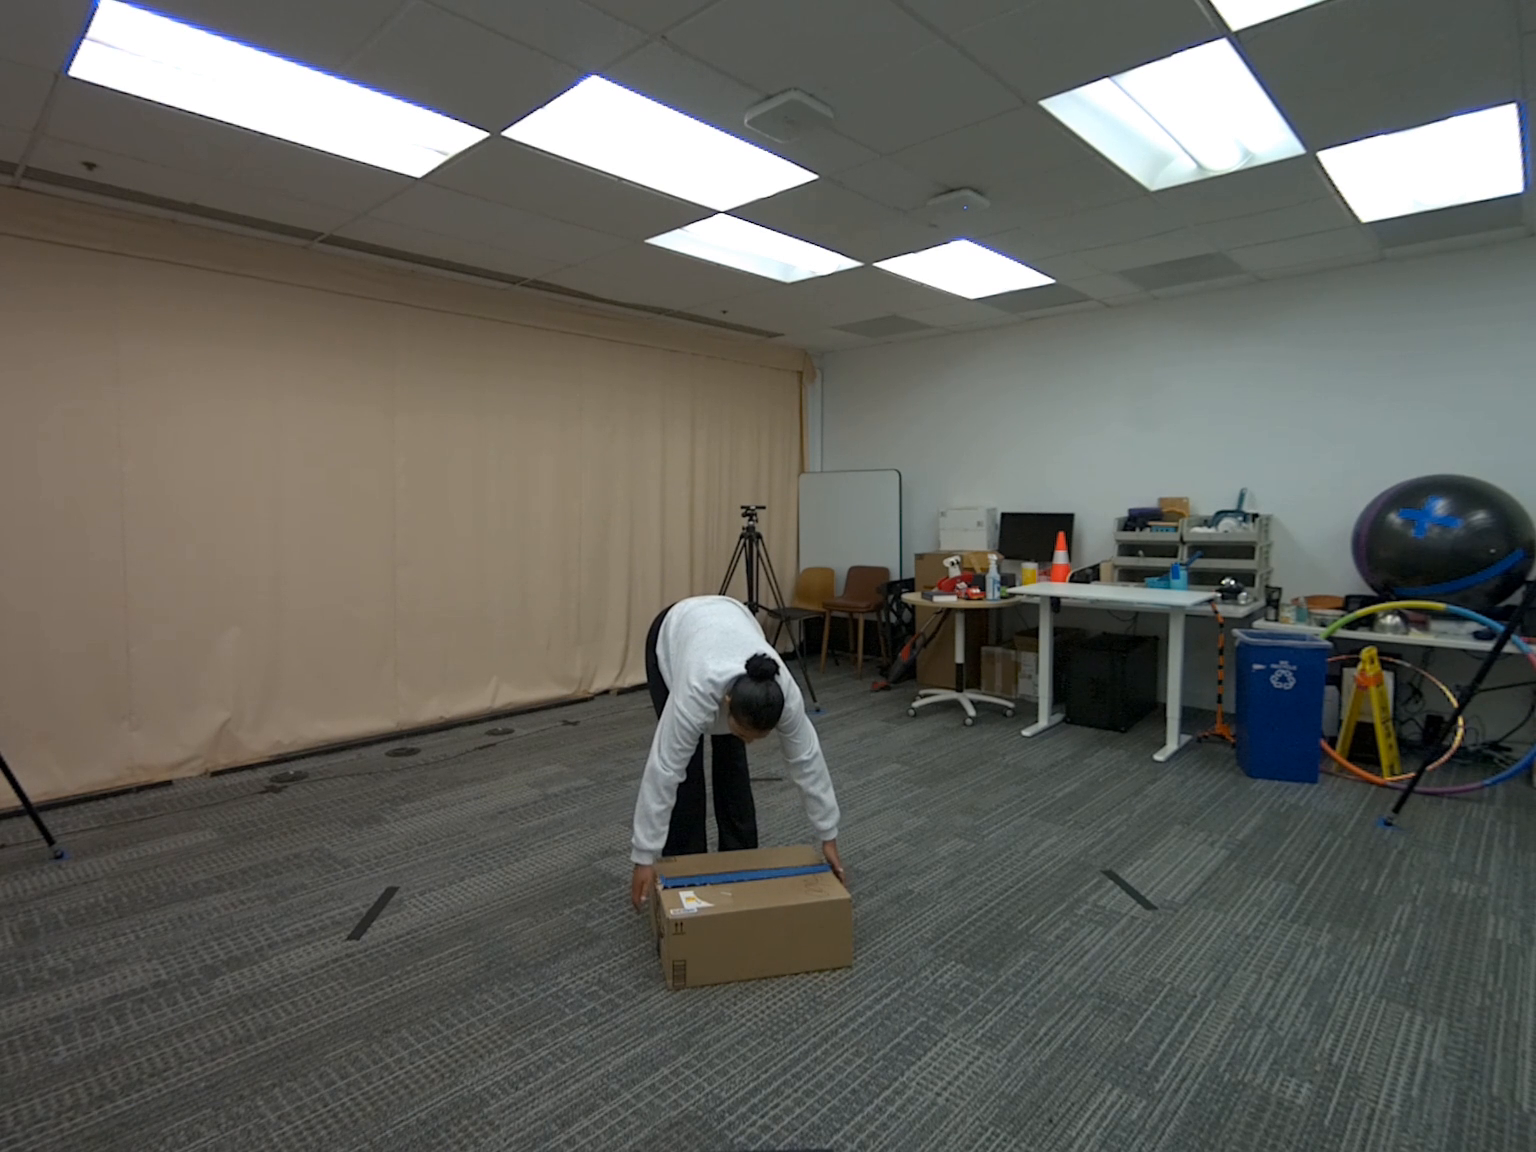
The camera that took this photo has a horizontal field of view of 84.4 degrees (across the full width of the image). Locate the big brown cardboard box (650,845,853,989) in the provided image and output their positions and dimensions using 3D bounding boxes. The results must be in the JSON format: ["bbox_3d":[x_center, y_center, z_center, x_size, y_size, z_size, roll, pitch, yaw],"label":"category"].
[{"bbox_3d":[-0.069,1.058,2.664,0.581,0.232,0.424,-1,4,-14],"label":"big brown cardboard box"}]
